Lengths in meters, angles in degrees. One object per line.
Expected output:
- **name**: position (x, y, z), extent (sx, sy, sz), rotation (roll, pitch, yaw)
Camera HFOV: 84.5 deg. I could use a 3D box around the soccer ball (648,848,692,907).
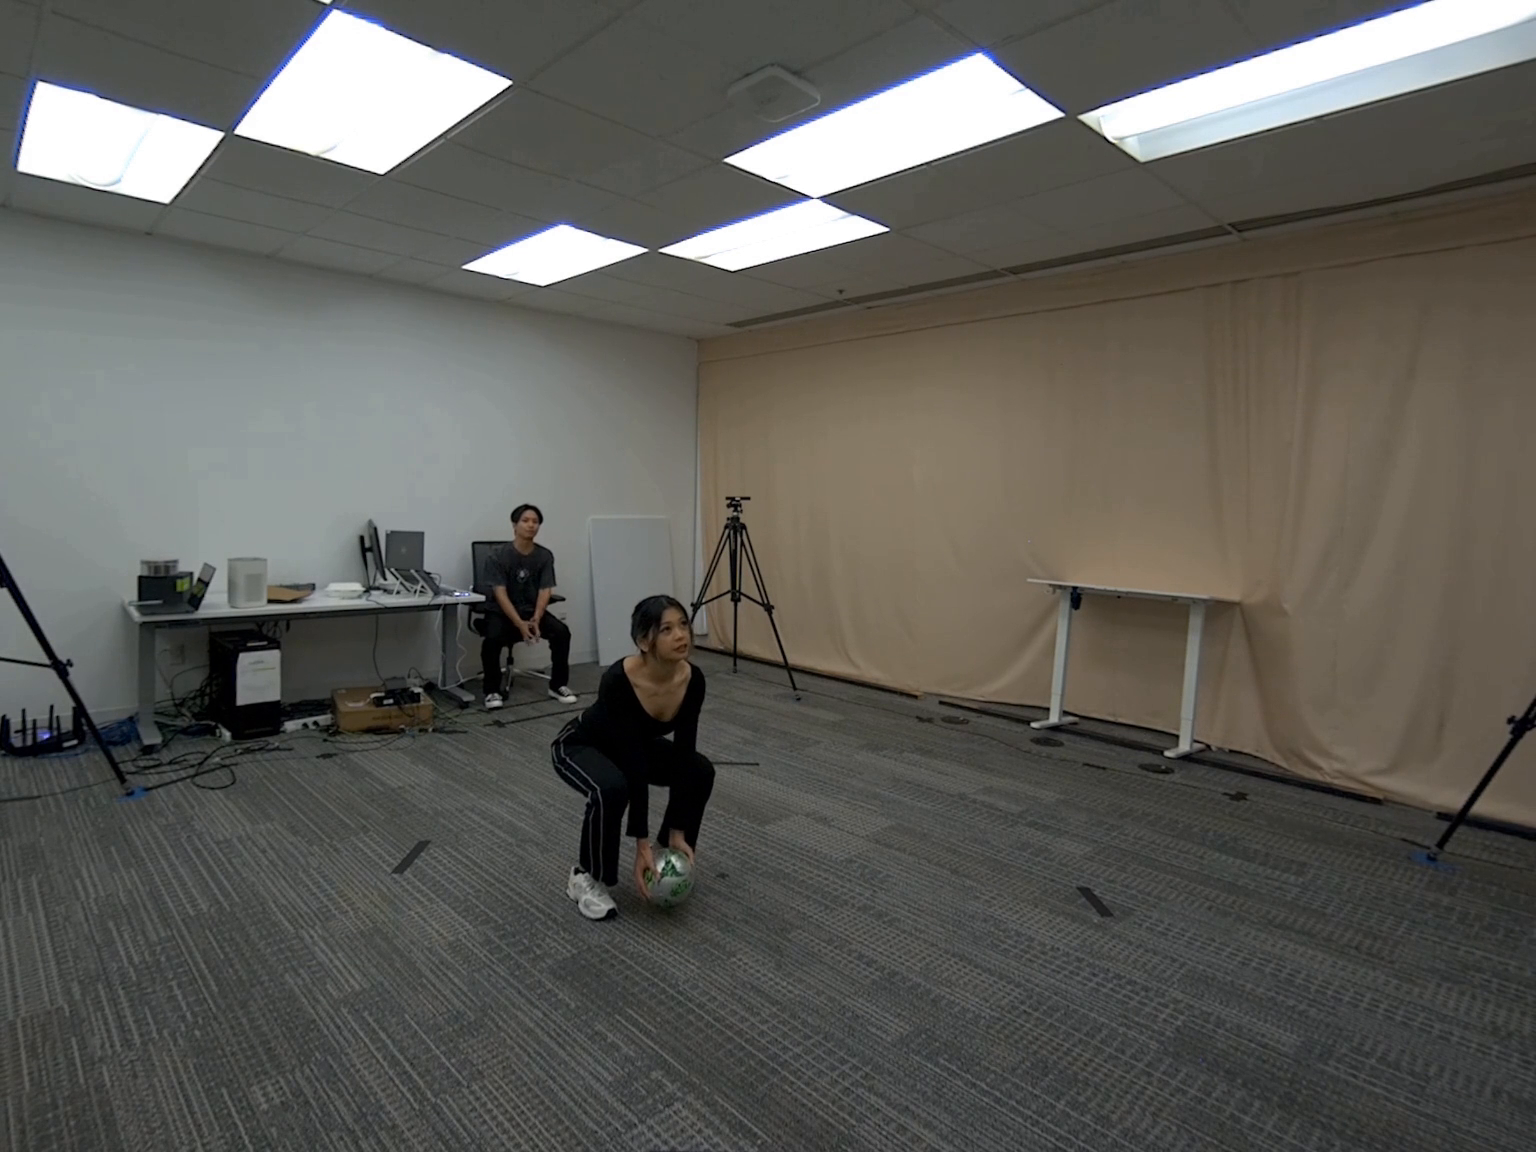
- **soccer ball**: position (-0.349, 0.994, 2.765), extent (0.187, 0.187, 0.188), rotation (1, 4, -1)
